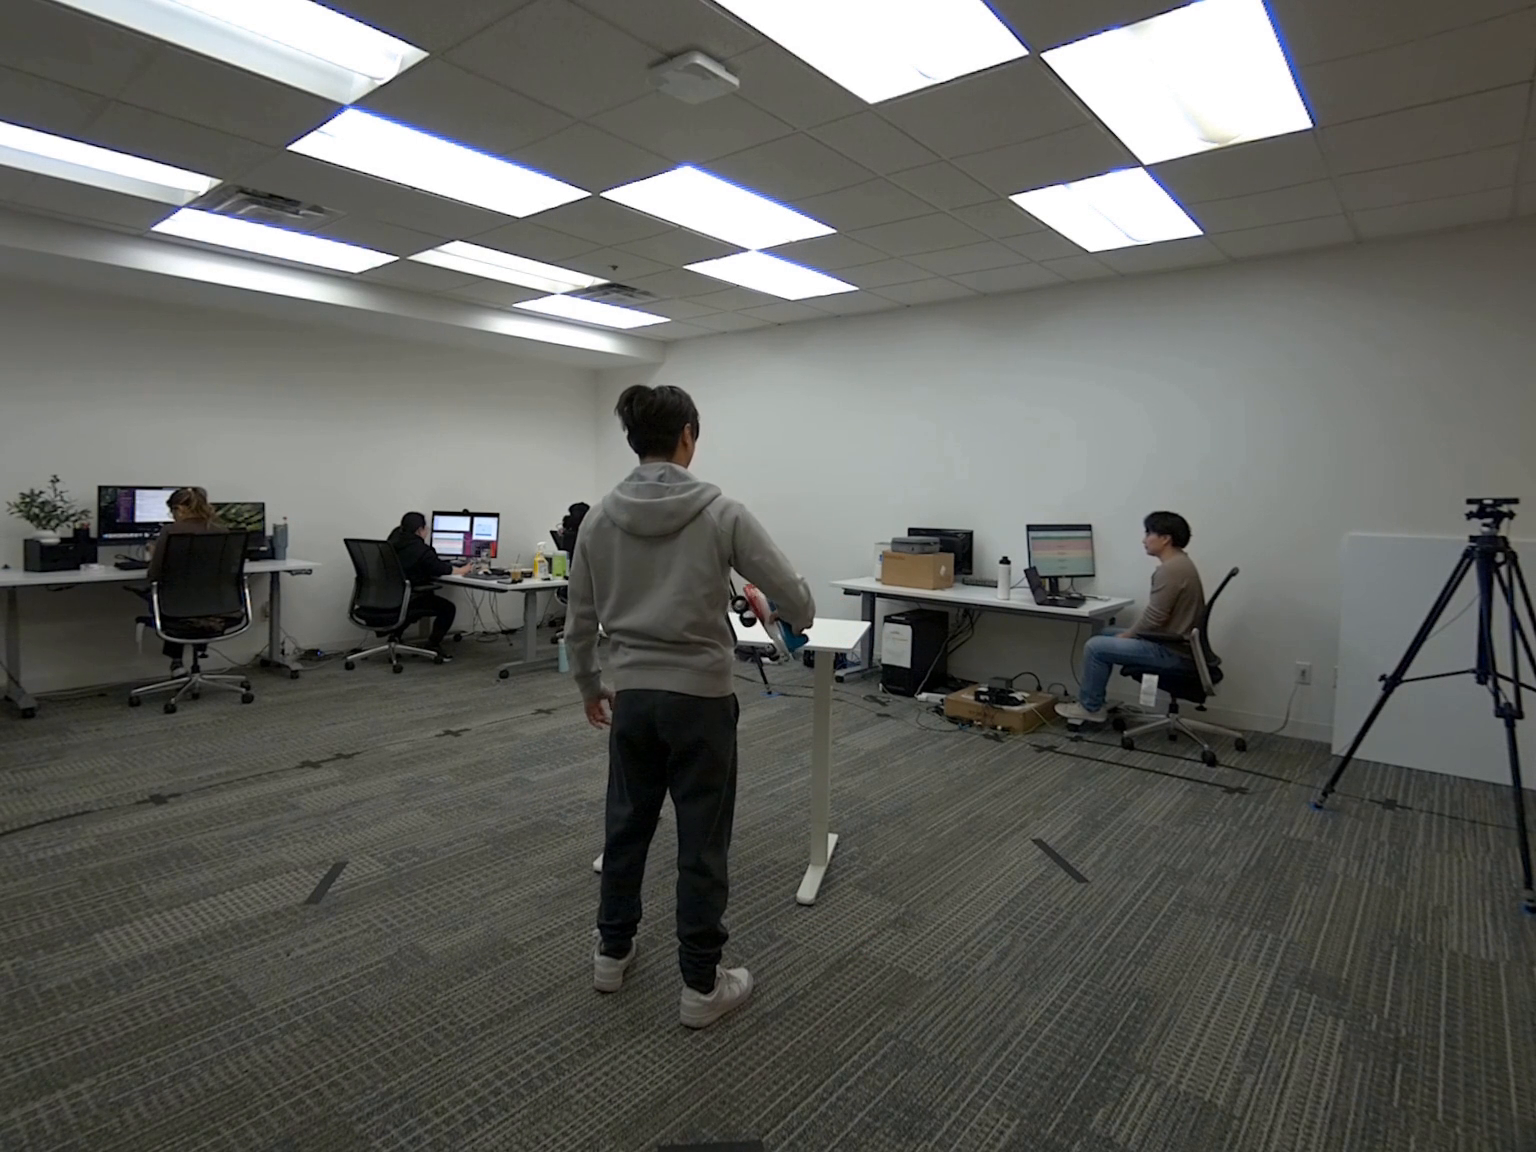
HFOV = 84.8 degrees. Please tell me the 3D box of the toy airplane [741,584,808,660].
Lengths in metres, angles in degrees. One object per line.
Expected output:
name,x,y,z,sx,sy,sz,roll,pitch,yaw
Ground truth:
toy airplane,0.005,0.134,2.568,0.156,0.263,0.247,-36,-10,-5
